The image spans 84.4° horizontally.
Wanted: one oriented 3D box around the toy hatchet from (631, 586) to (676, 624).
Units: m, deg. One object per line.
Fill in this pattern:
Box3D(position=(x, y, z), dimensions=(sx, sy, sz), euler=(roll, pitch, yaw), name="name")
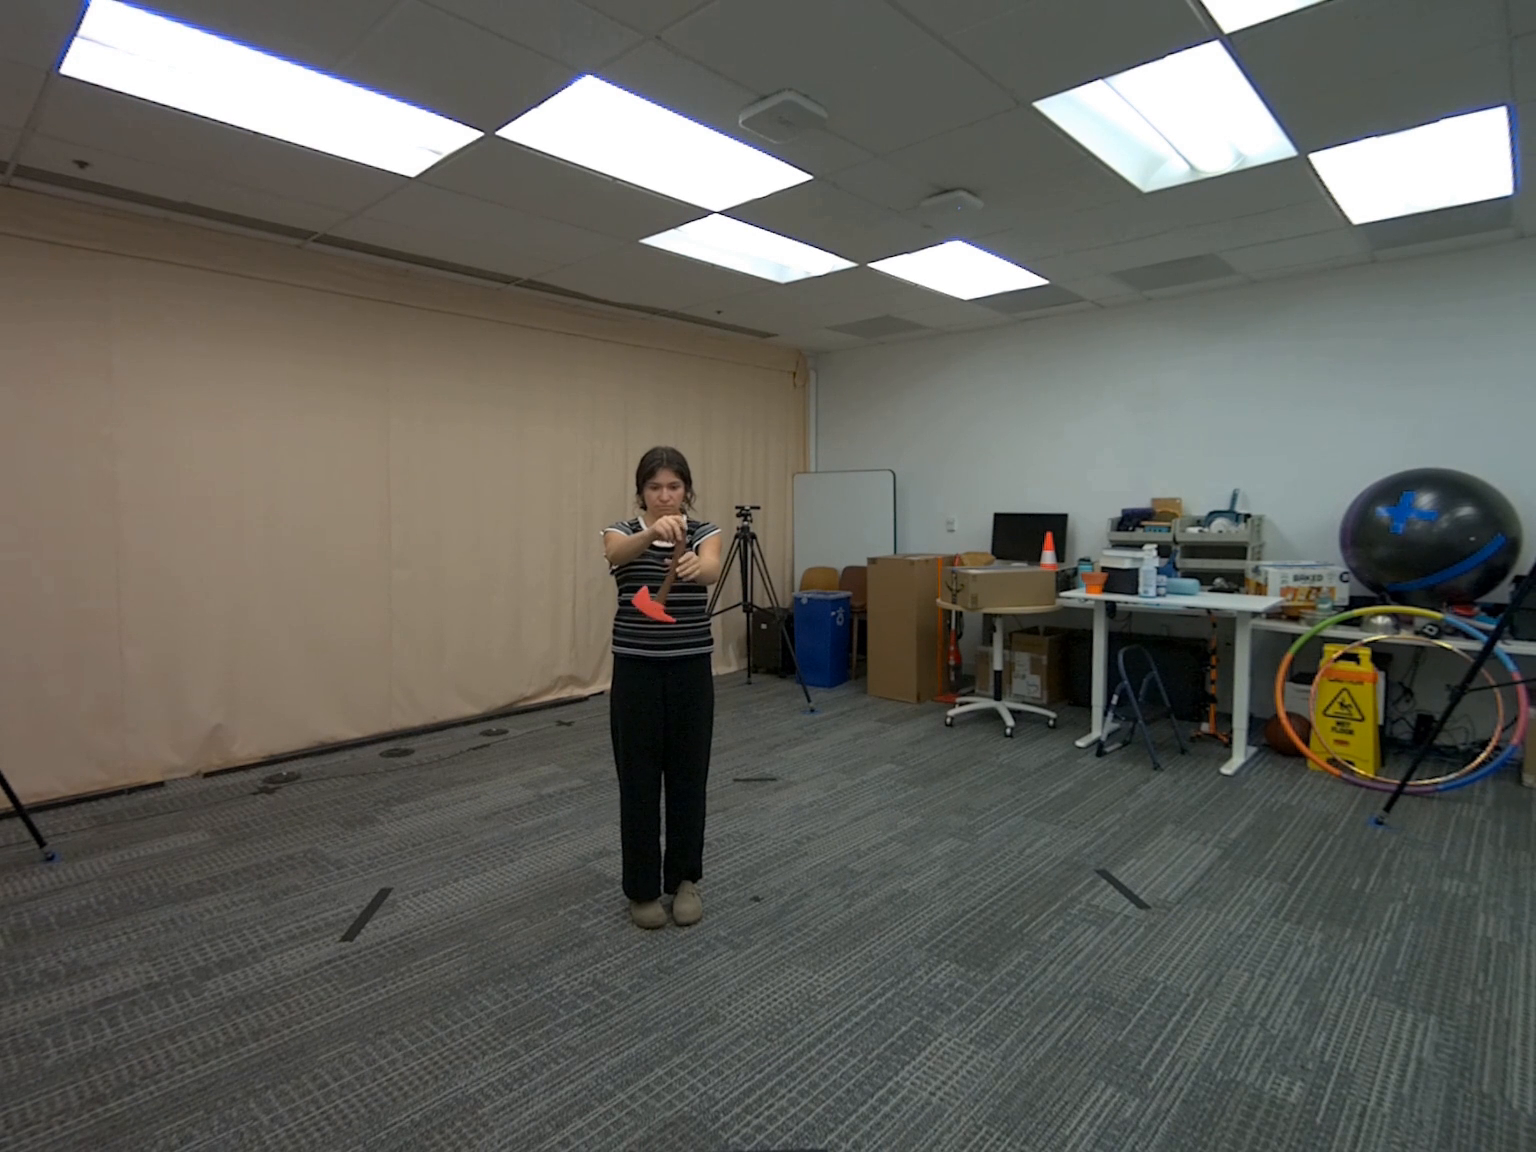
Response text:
Box3D(position=(-0.275, -0.012, 2.324), dimensions=(0.133, 0.271, 0.029), euler=(6, -6, 17), name="toy hatchet")
